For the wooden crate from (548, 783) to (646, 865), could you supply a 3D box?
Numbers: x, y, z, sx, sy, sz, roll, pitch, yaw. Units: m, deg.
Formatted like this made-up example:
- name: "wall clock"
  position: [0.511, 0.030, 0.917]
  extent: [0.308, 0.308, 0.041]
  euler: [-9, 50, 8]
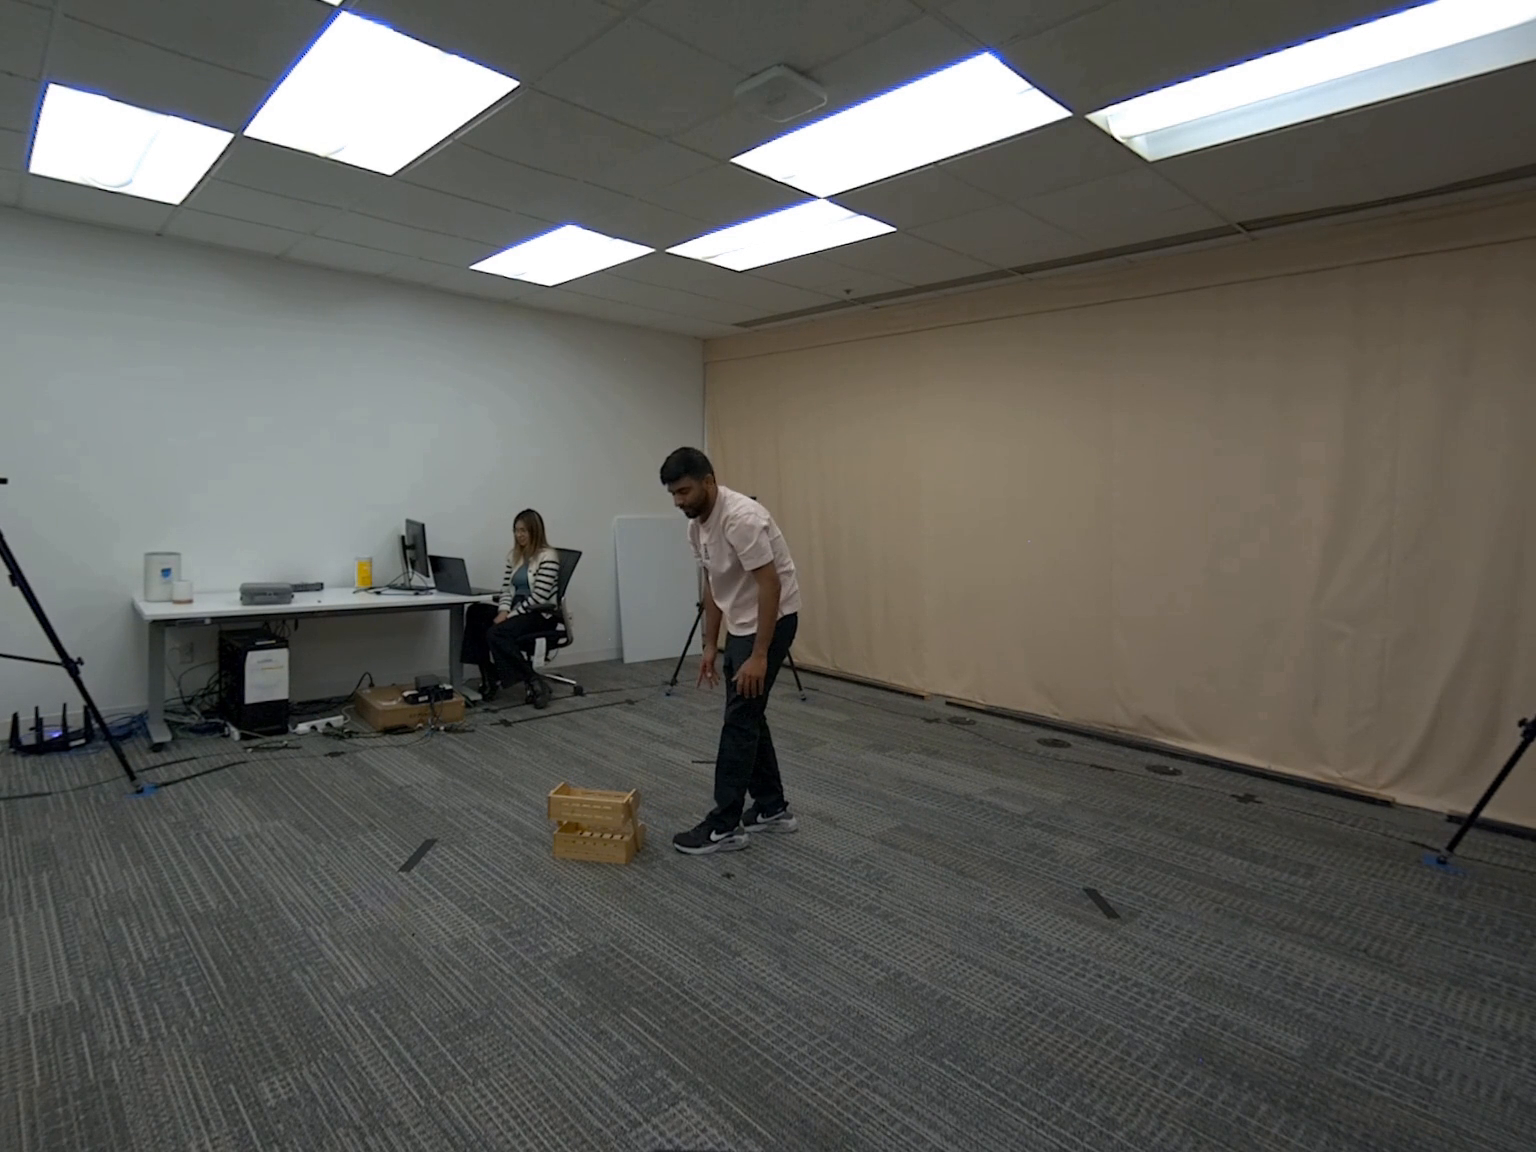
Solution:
- name: "wooden crate"
  position: [-0.668, 0.942, 3.291]
  extent: [0.327, 0.272, 0.301]
  euler: [2, 5, 9]
